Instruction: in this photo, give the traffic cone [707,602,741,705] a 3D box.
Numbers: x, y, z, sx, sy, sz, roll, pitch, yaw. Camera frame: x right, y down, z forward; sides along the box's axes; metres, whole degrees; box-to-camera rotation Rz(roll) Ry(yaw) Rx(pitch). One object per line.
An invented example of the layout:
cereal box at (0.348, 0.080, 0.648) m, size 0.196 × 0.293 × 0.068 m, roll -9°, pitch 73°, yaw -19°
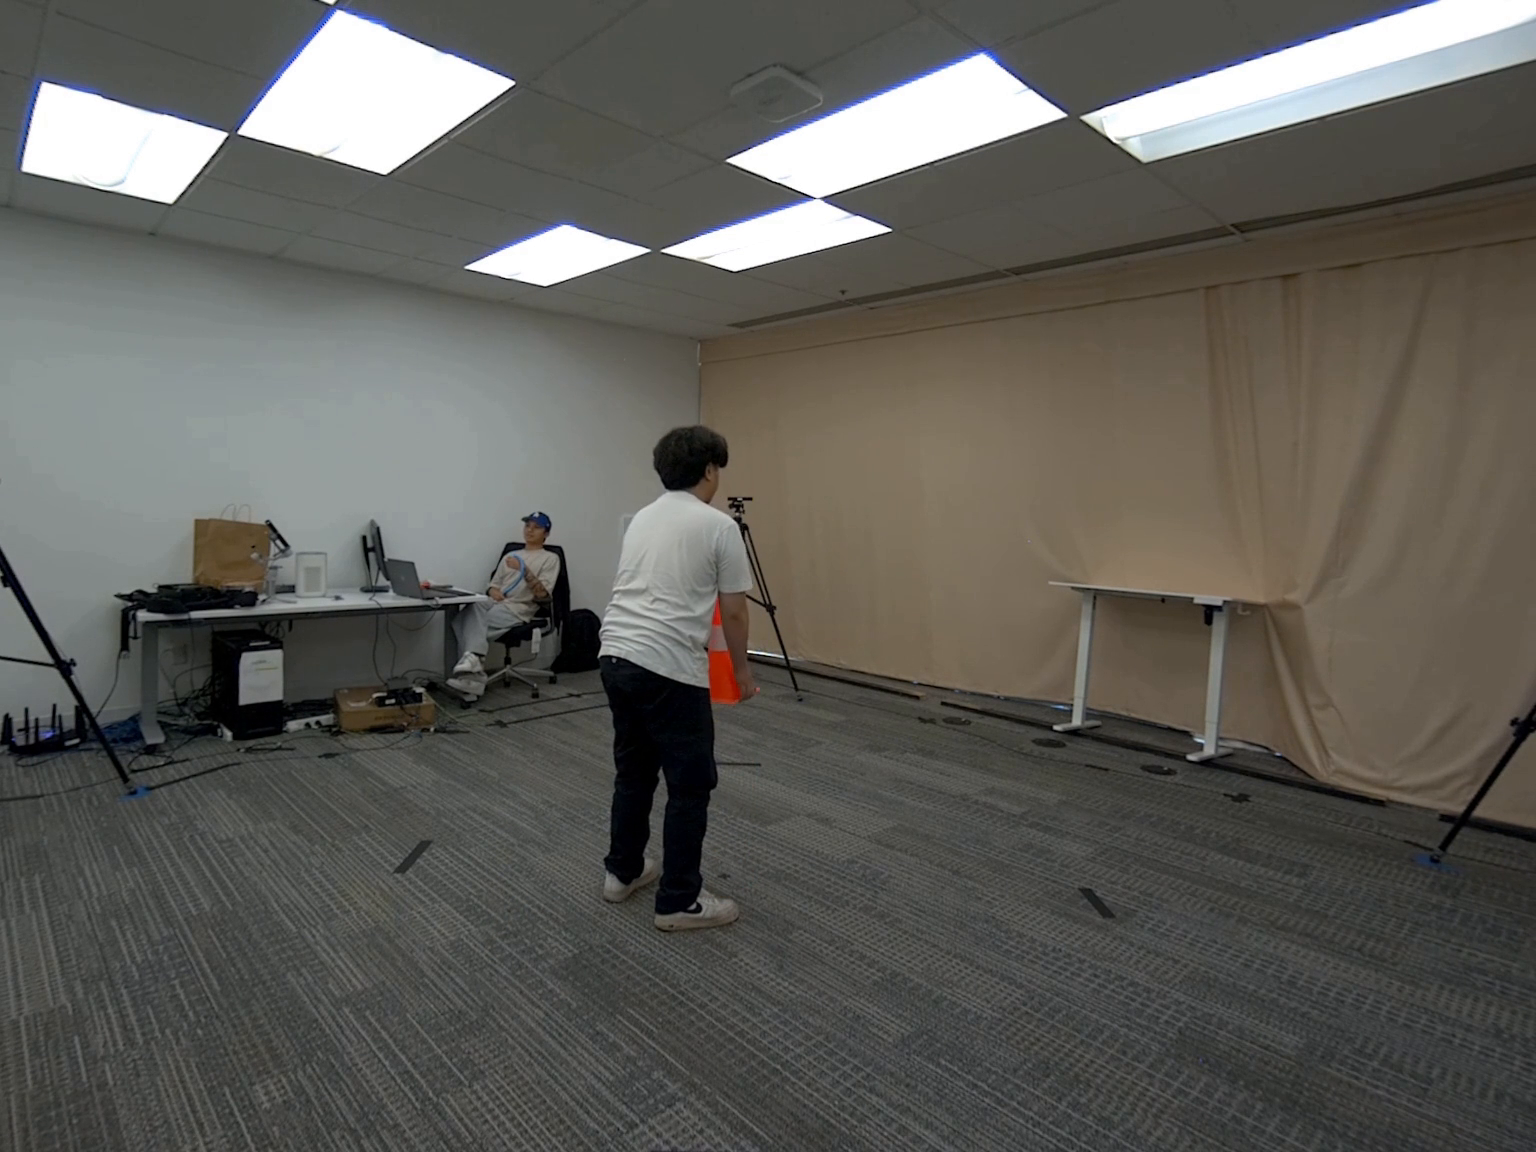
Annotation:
traffic cone at (-0.174, 0.246, 3.042) m, size 0.199 × 0.382 × 0.210 m, roll -7°, pitch 8°, yaw -41°
